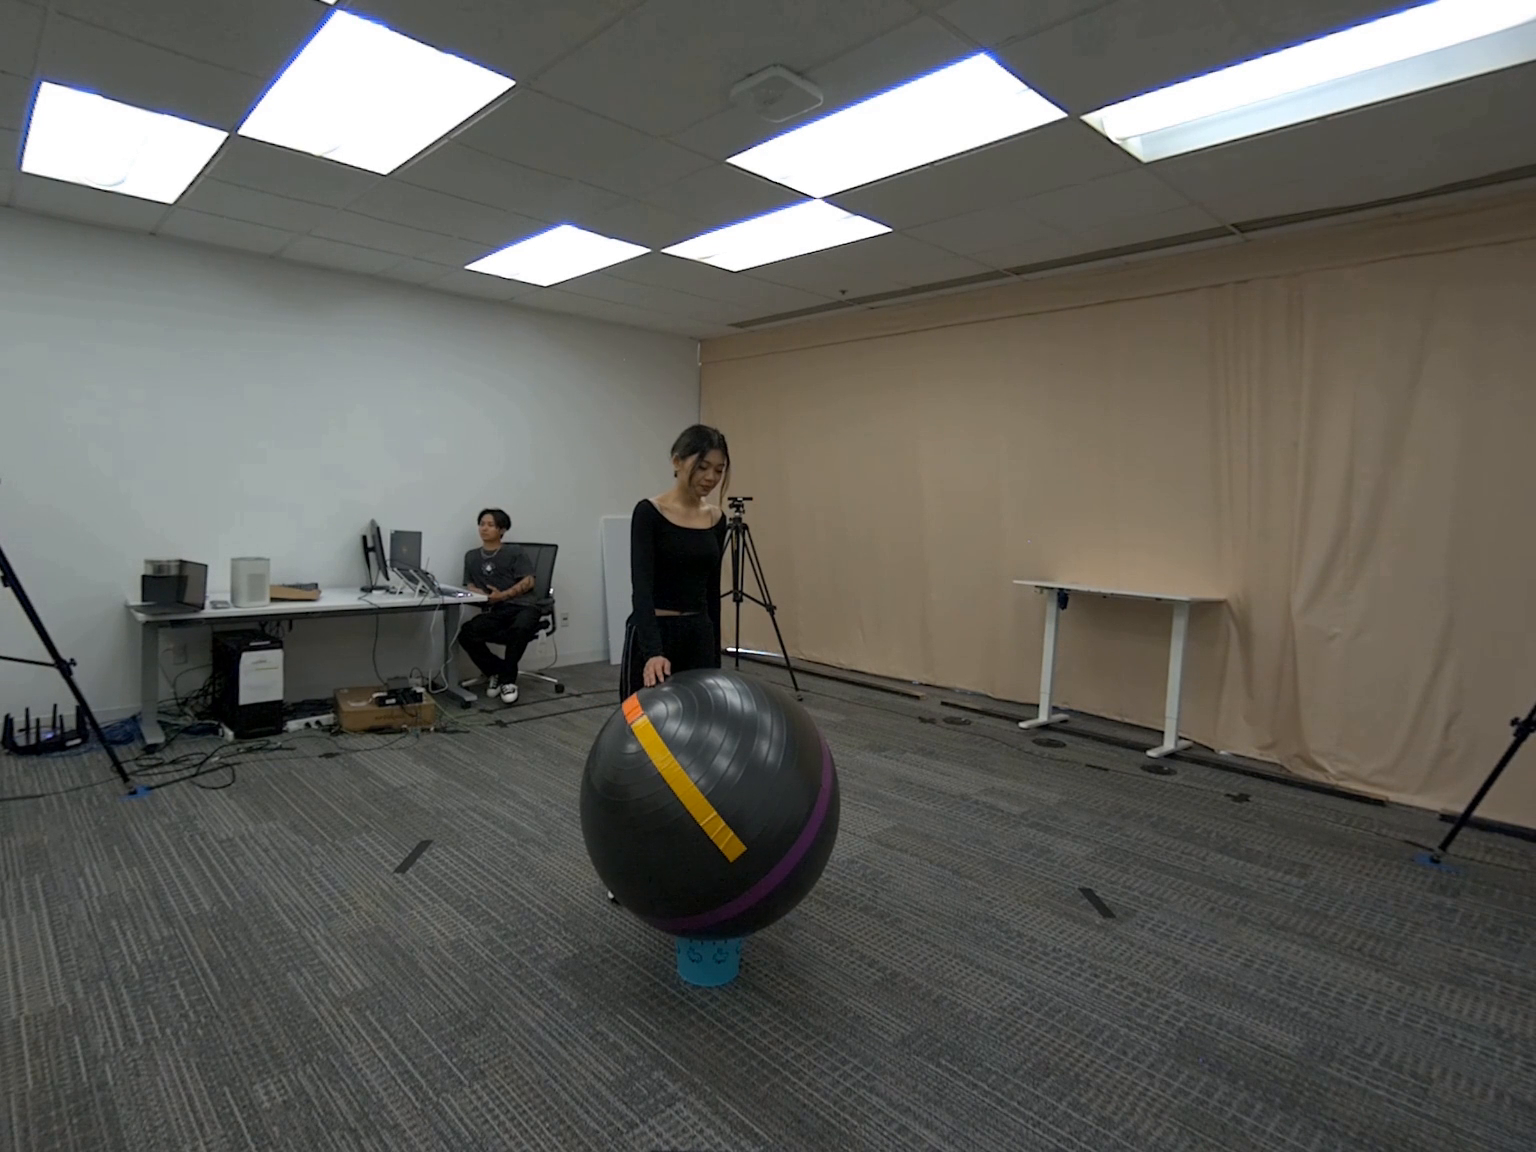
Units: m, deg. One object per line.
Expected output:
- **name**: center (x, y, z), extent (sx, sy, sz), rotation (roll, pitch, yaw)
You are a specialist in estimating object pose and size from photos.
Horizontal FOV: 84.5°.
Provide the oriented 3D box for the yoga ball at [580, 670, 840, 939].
- **yoga ball**: center (-0.169, 0.657, 2.453), extent (0.757, 0.756, 0.761), rotation (1, 4, -1)
